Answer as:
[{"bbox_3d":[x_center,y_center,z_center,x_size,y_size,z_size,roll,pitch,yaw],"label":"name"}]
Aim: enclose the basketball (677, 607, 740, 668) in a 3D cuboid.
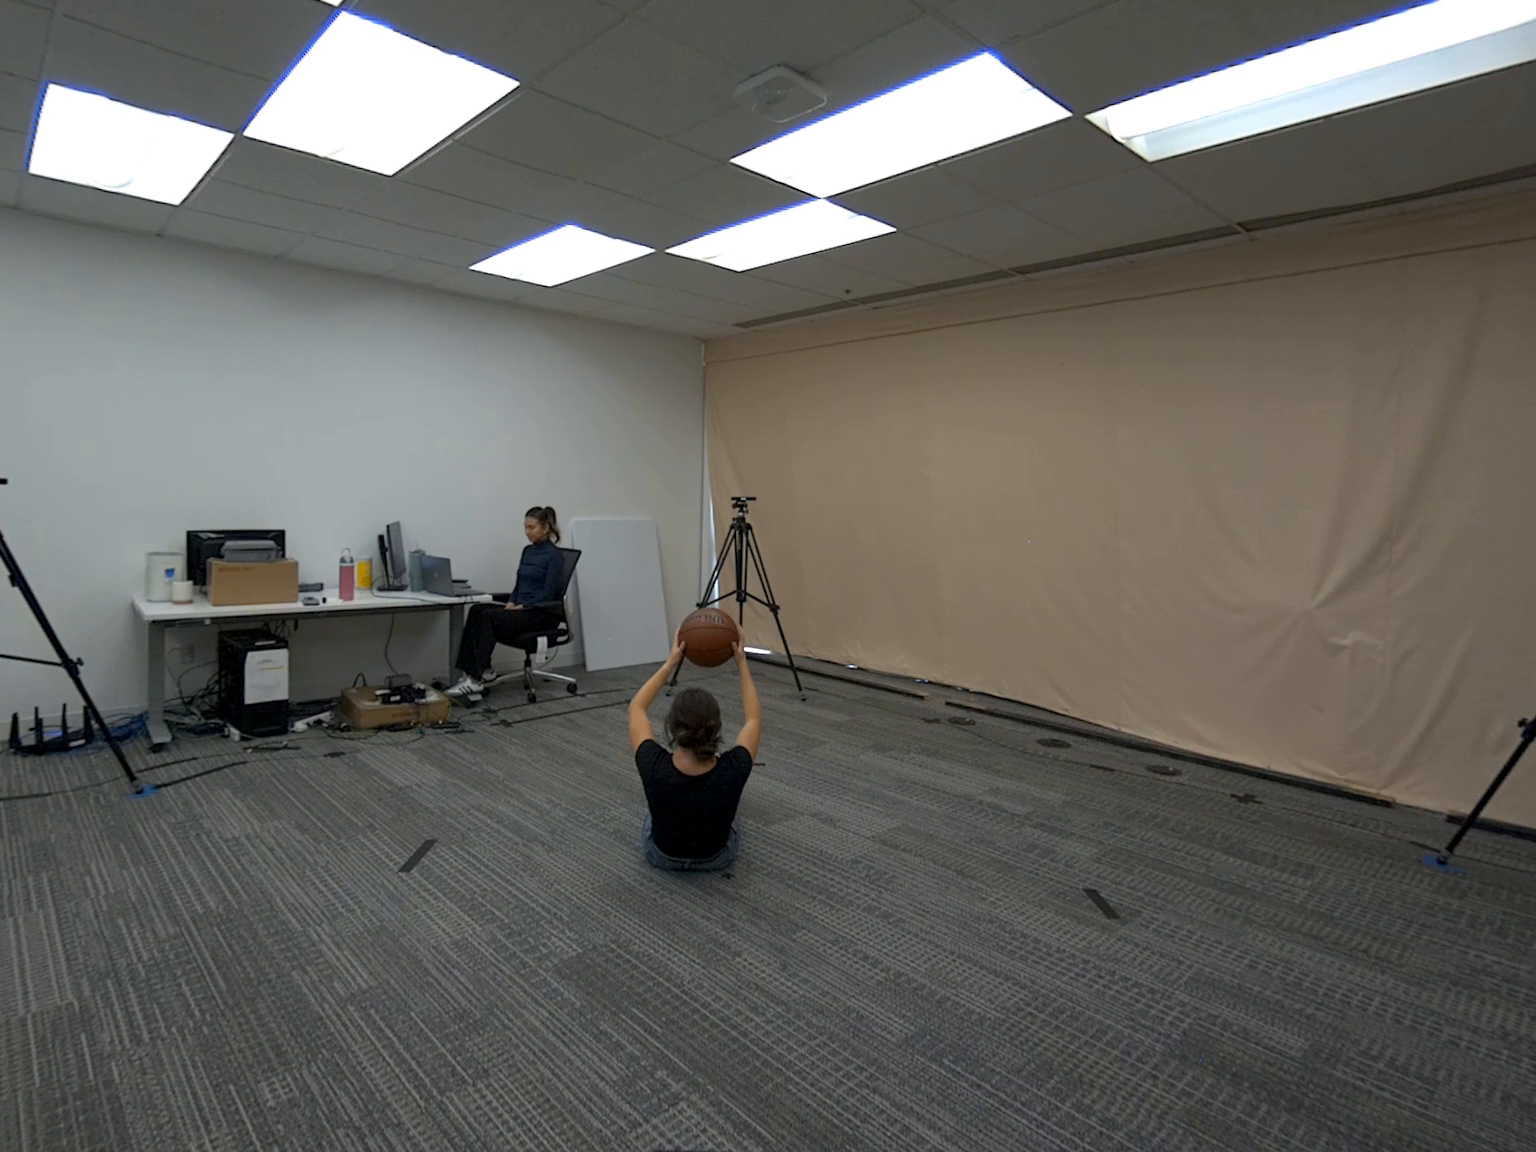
[{"bbox_3d":[-0.239,0.248,3.350,0.236,0.235,0.237,1,4,-1],"label":"basketball"}]
